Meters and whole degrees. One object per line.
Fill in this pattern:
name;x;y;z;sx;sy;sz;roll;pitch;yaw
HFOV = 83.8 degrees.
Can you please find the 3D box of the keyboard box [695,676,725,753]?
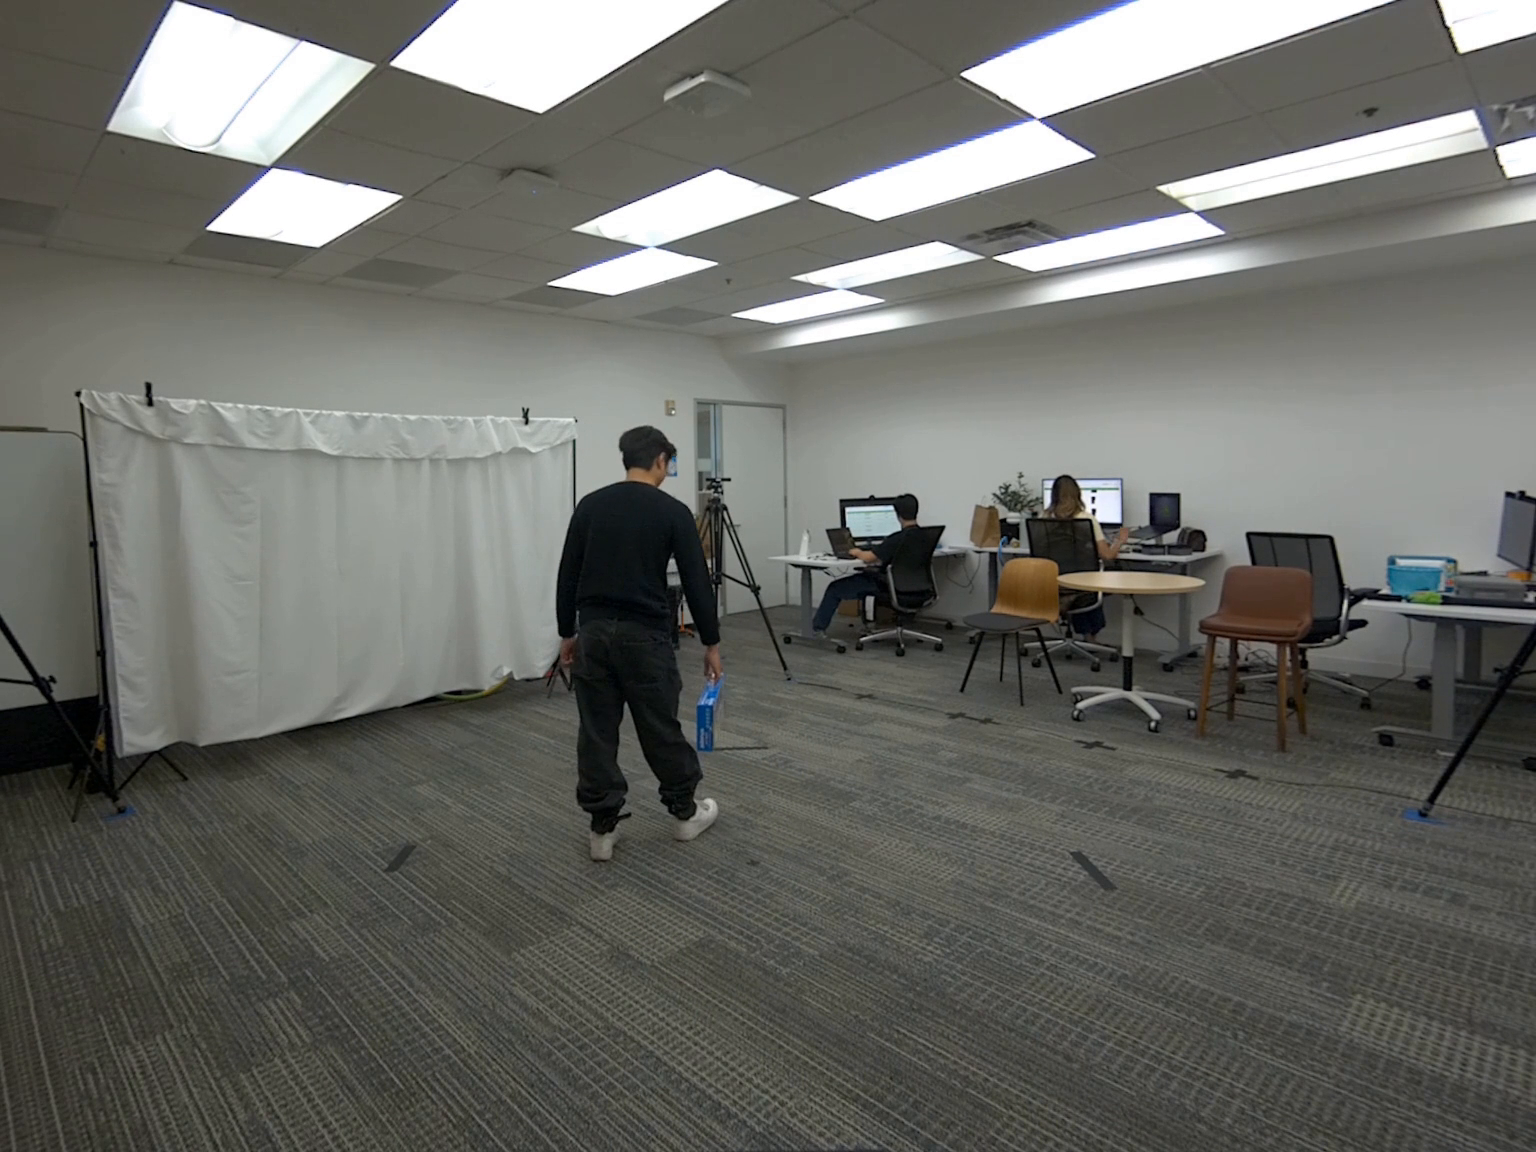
keyboard box;-0.213;0.504;3.267;0.059;0.175;0.437;1;7;3
